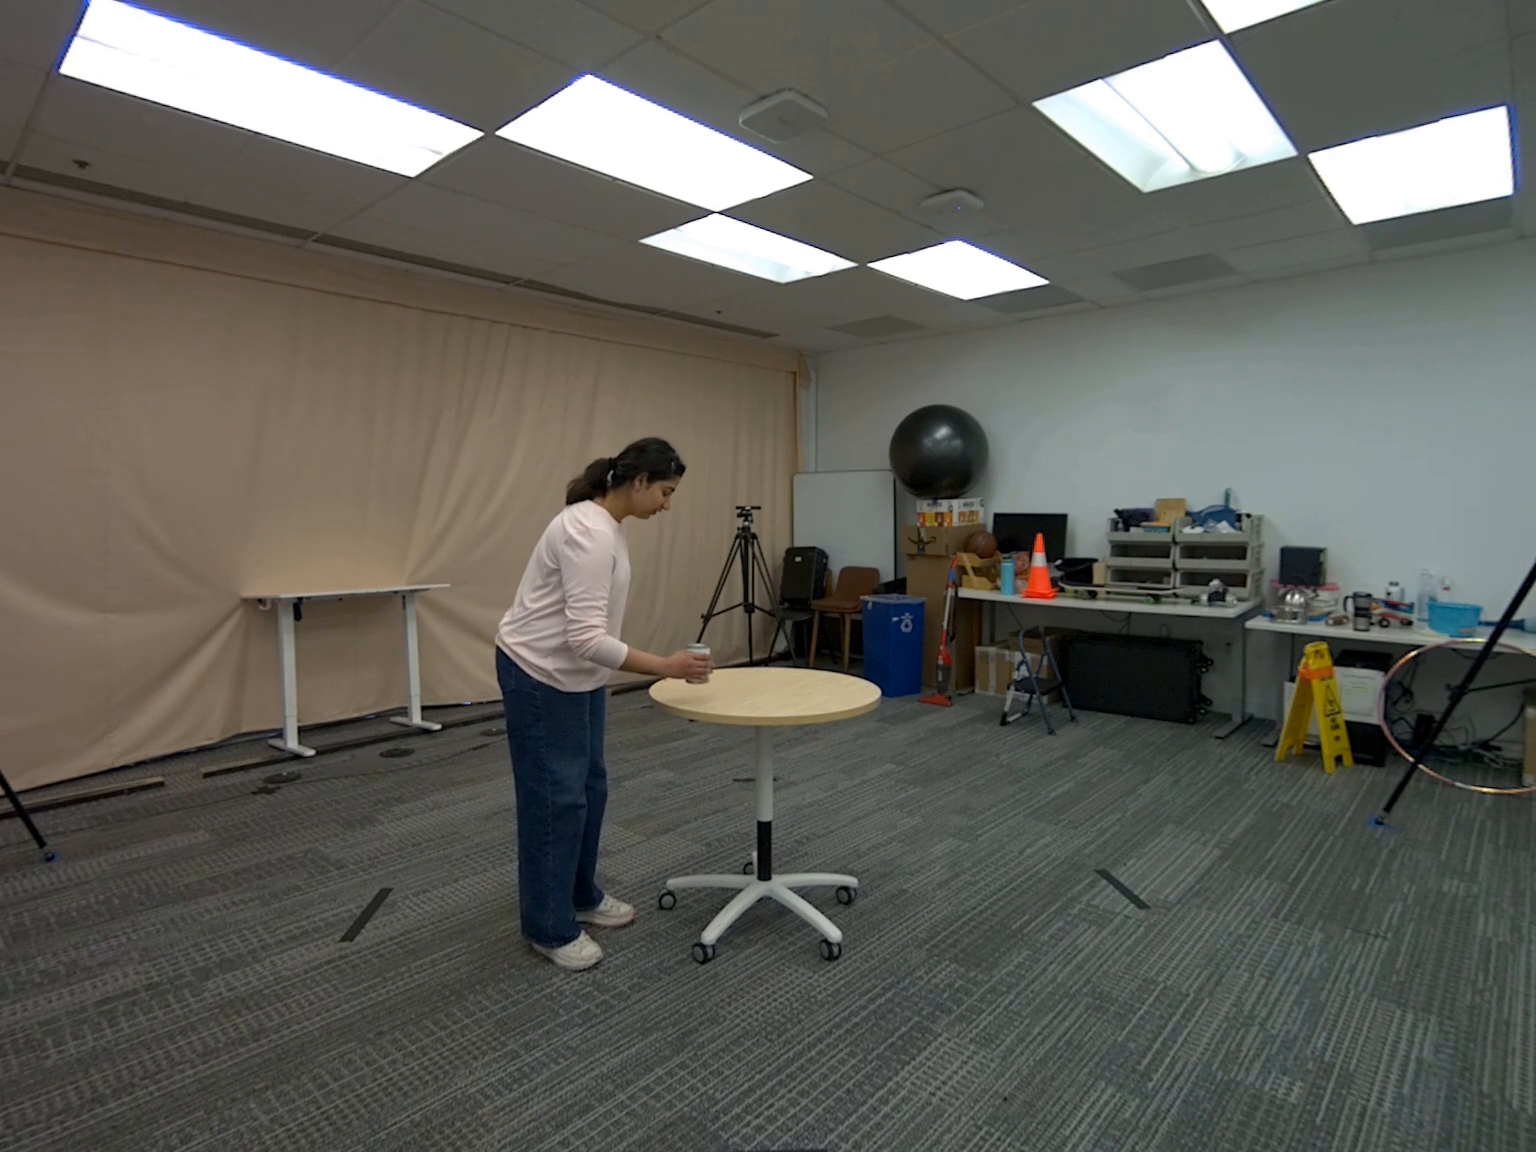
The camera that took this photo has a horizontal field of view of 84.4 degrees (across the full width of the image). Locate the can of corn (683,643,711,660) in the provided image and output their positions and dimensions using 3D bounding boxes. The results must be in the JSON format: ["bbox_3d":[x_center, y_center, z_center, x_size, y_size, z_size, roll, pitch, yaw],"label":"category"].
[{"bbox_3d":[-0.212,0.269,2.544,0.074,0.111,0.074,3,3,-2],"label":"can of corn"}]
